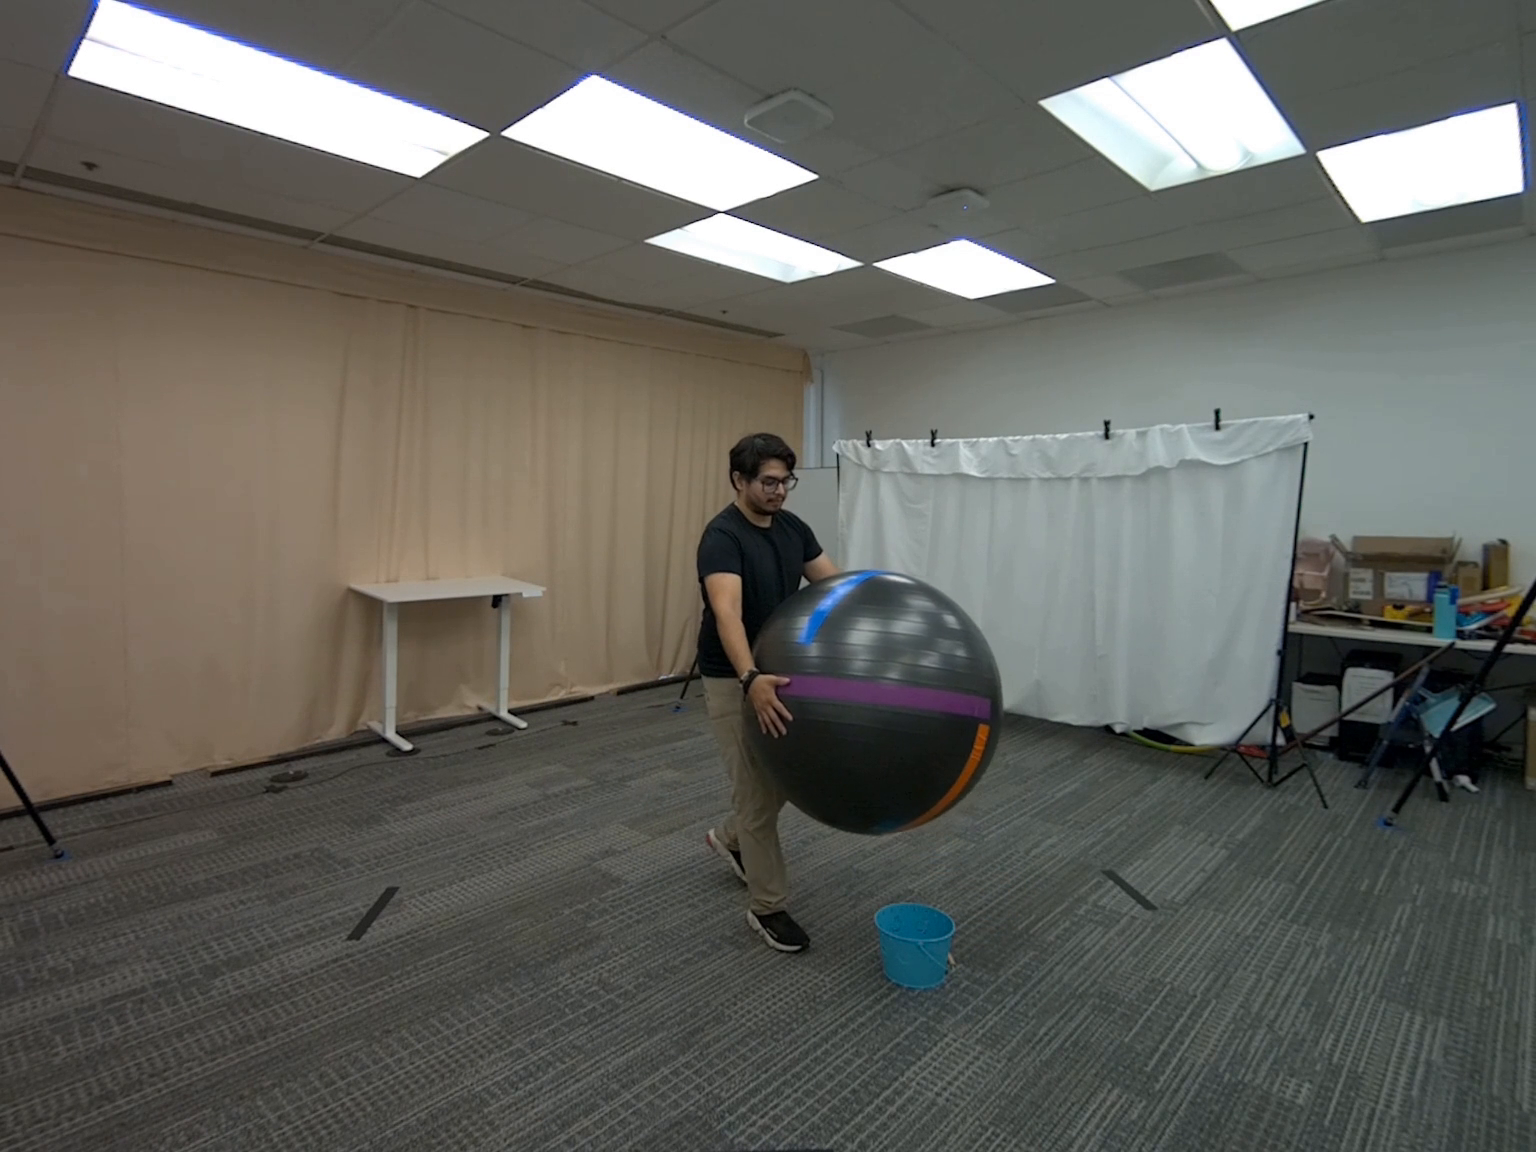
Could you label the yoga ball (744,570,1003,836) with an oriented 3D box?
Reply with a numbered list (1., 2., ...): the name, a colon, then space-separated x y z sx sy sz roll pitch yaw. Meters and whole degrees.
1. yoga ball: 0.310 0.375 2.486 0.757 0.756 0.761 0 4 -2
